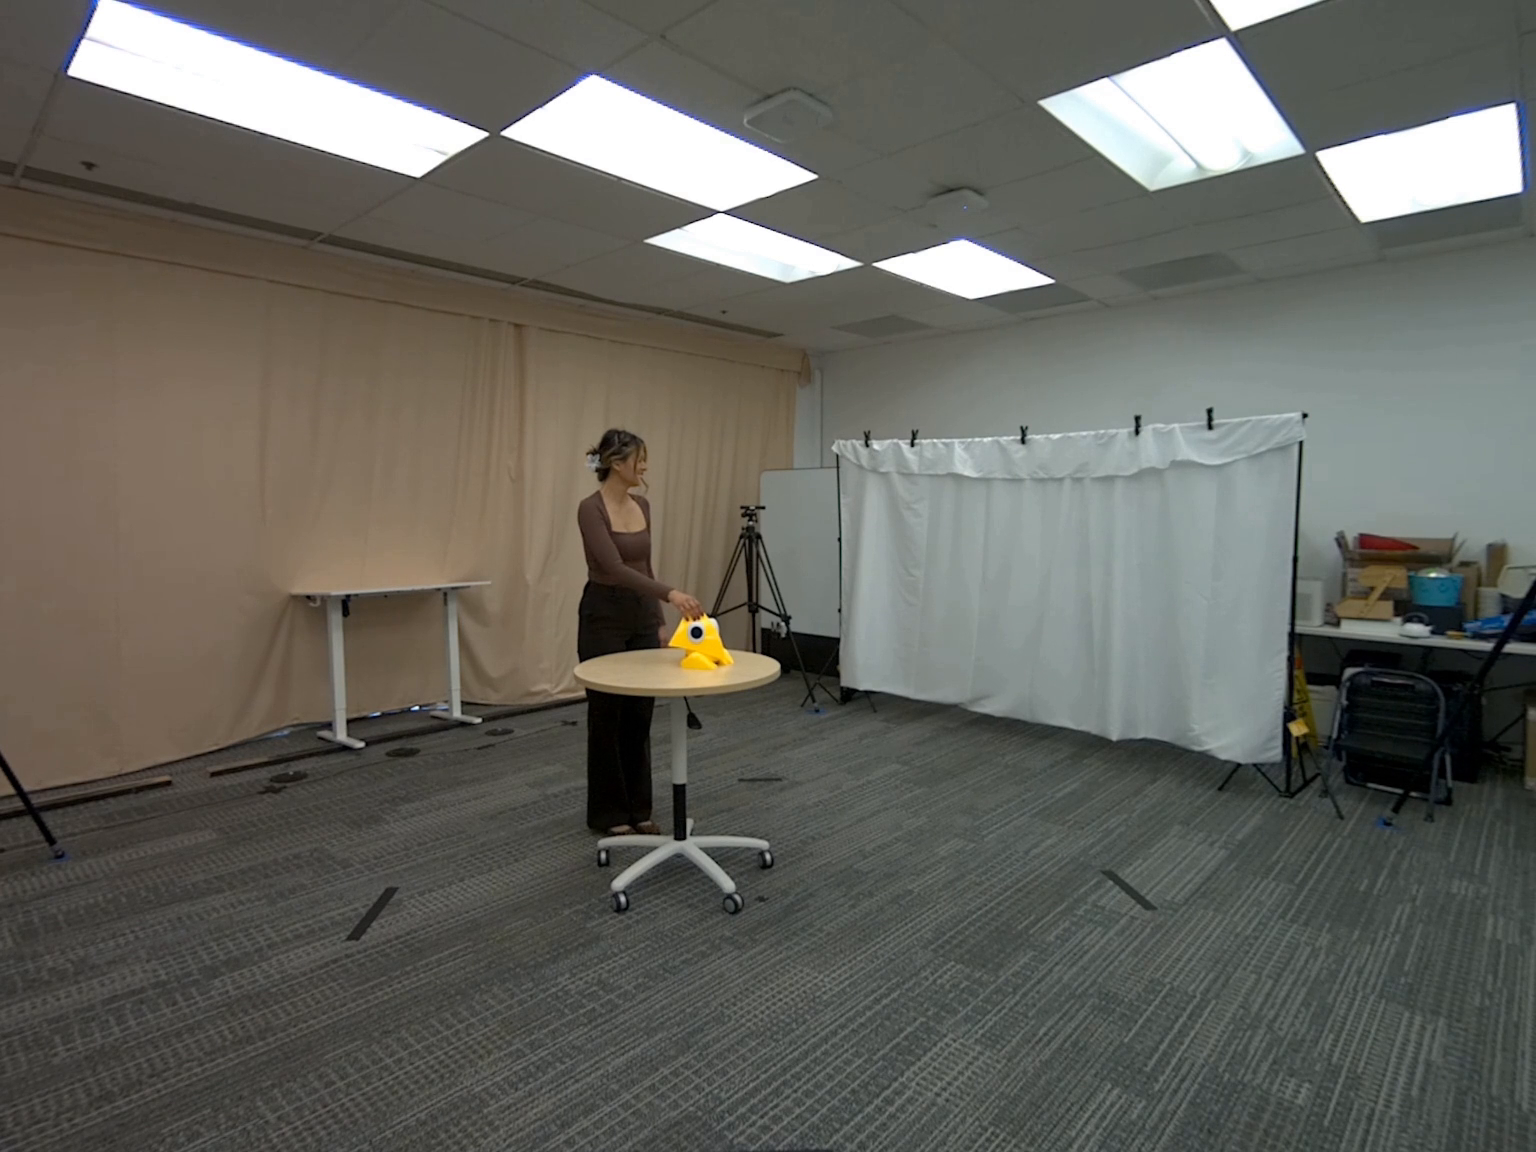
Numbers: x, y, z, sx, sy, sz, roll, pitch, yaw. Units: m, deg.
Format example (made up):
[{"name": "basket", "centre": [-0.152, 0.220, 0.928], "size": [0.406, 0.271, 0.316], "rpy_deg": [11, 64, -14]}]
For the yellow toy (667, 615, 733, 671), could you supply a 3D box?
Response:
[{"name": "yellow toy", "centre": [-0.243, 0.218, 3.169], "size": [0.199, 0.230, 0.199], "rpy_deg": [2, 5, 32]}]
